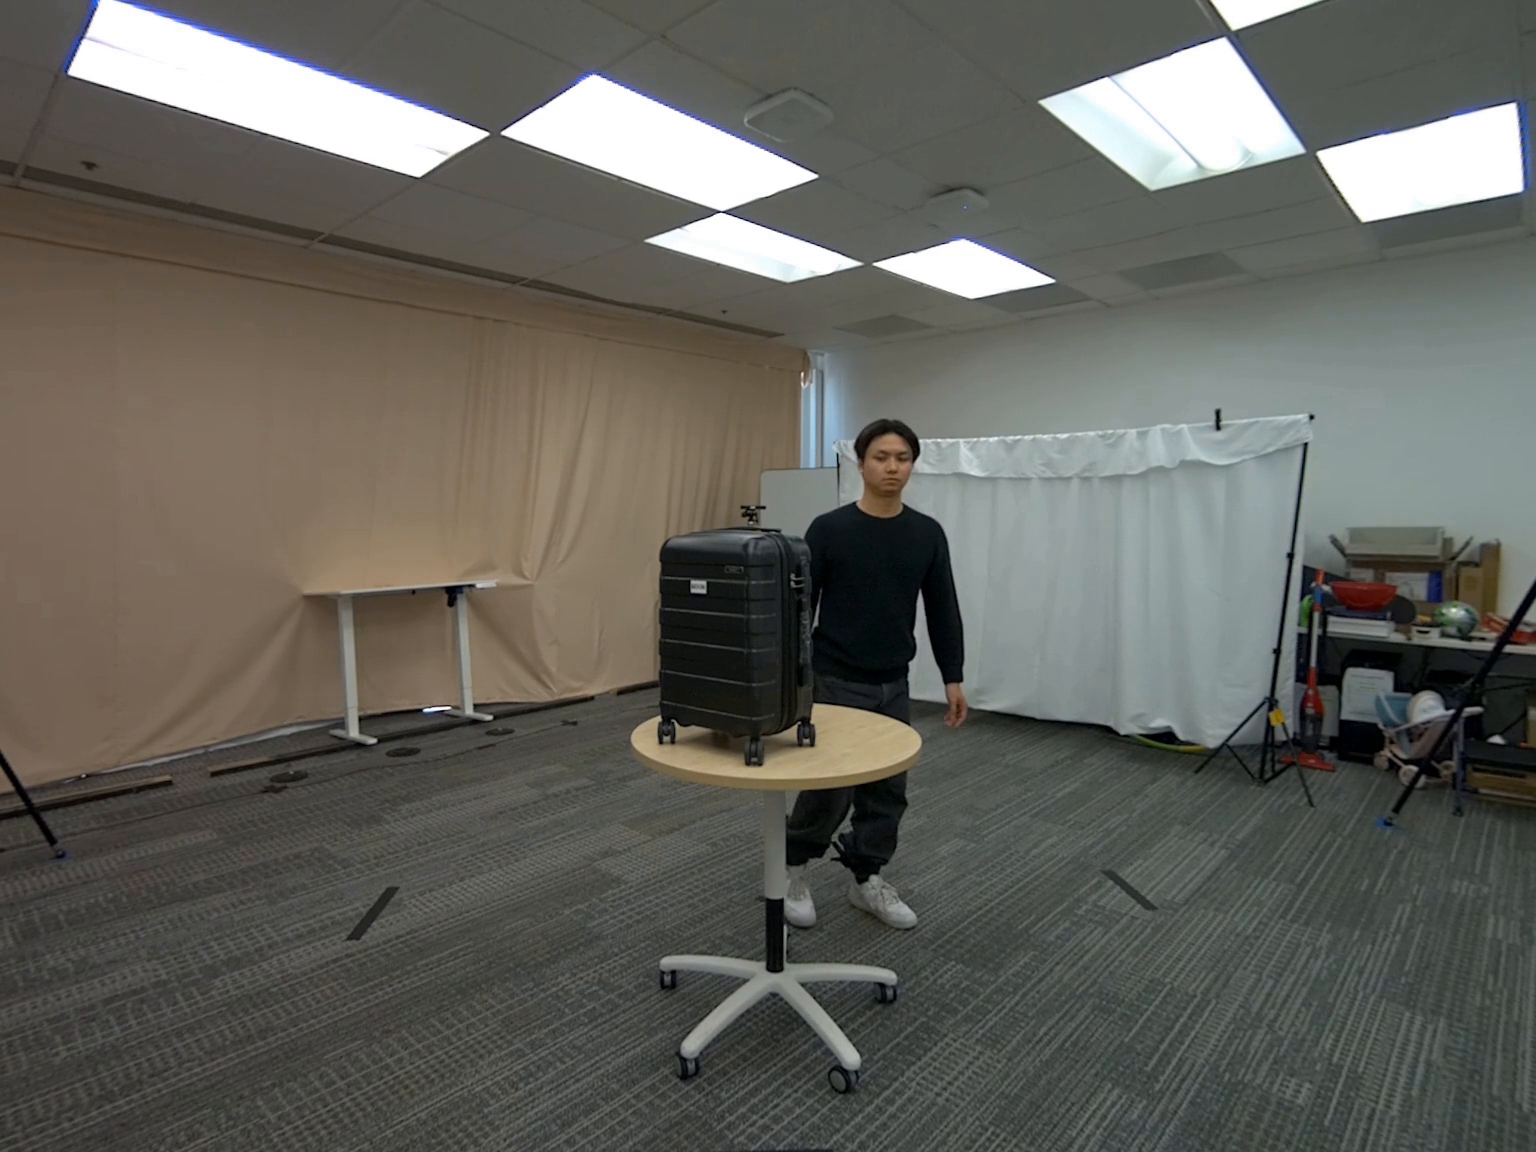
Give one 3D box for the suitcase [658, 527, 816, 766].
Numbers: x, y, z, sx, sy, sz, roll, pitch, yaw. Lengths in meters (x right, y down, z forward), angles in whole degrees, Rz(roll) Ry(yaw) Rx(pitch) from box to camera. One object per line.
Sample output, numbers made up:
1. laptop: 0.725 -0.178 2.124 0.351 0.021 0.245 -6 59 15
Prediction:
1. suitcase: -0.078 0.153 2.151 0.388 0.548 0.241 2 3 39
